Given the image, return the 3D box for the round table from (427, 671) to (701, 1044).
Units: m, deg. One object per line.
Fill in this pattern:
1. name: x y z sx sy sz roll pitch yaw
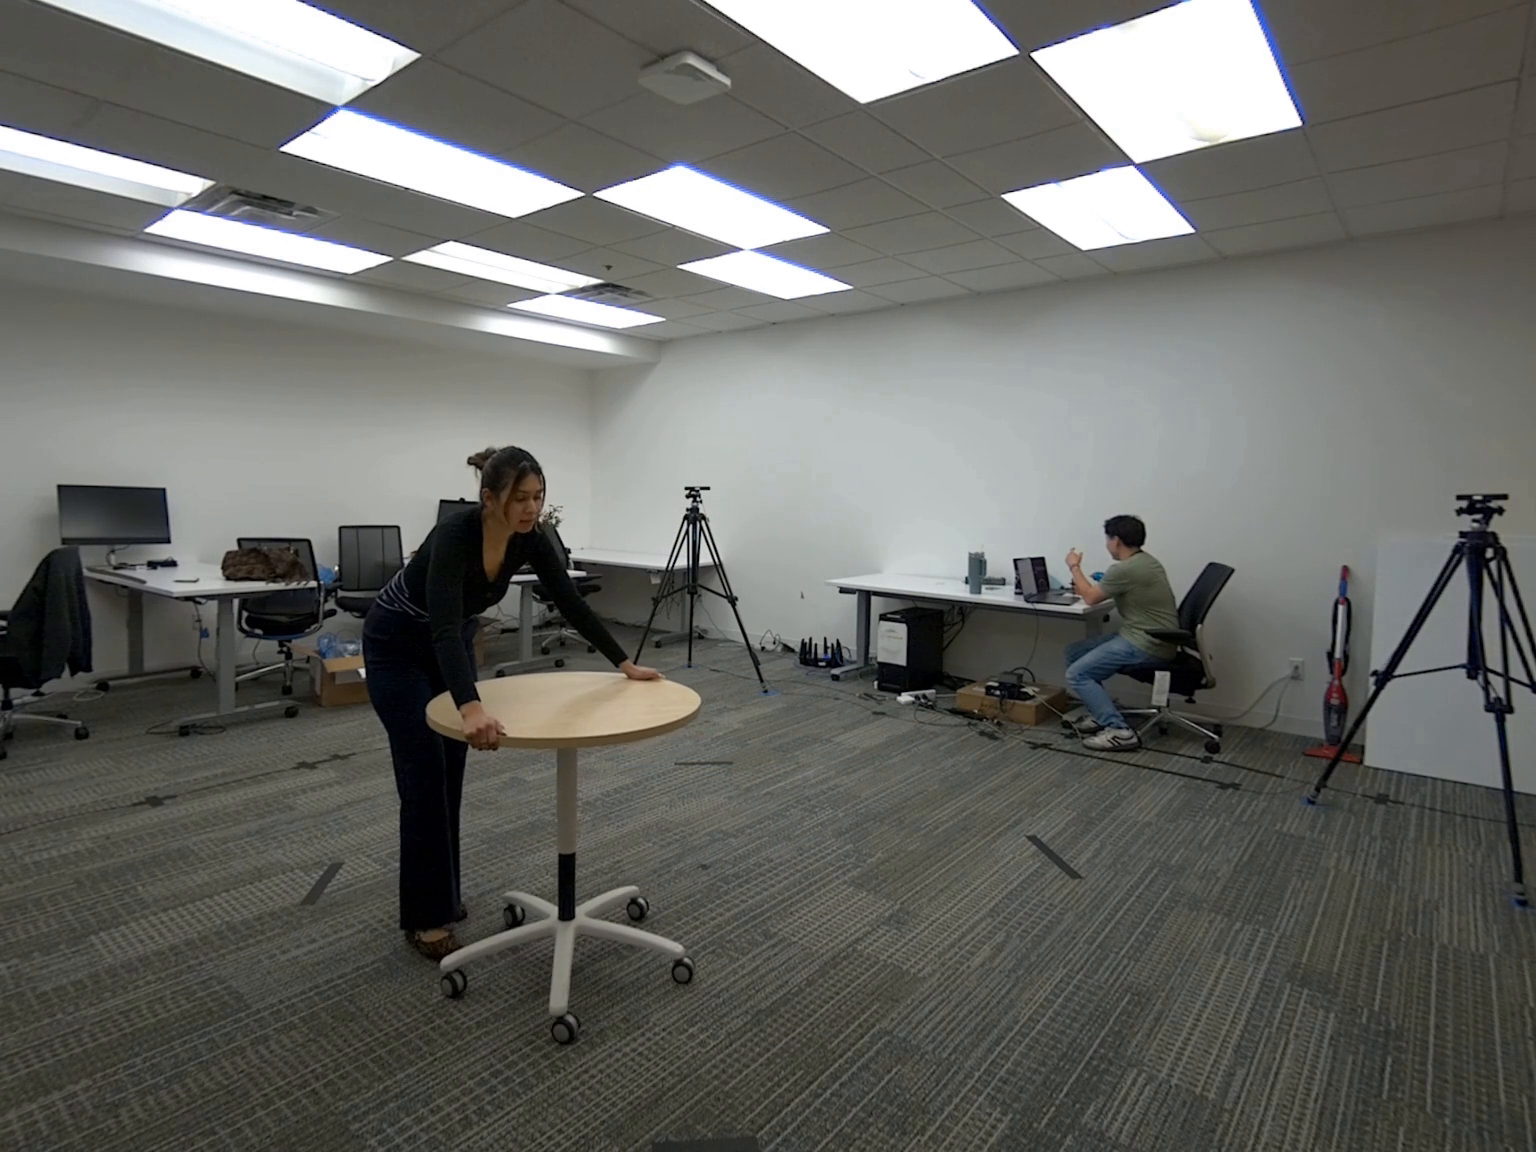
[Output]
1. round table: -0.573 0.746 2.448 0.763 0.792 0.767 0 4 -2
